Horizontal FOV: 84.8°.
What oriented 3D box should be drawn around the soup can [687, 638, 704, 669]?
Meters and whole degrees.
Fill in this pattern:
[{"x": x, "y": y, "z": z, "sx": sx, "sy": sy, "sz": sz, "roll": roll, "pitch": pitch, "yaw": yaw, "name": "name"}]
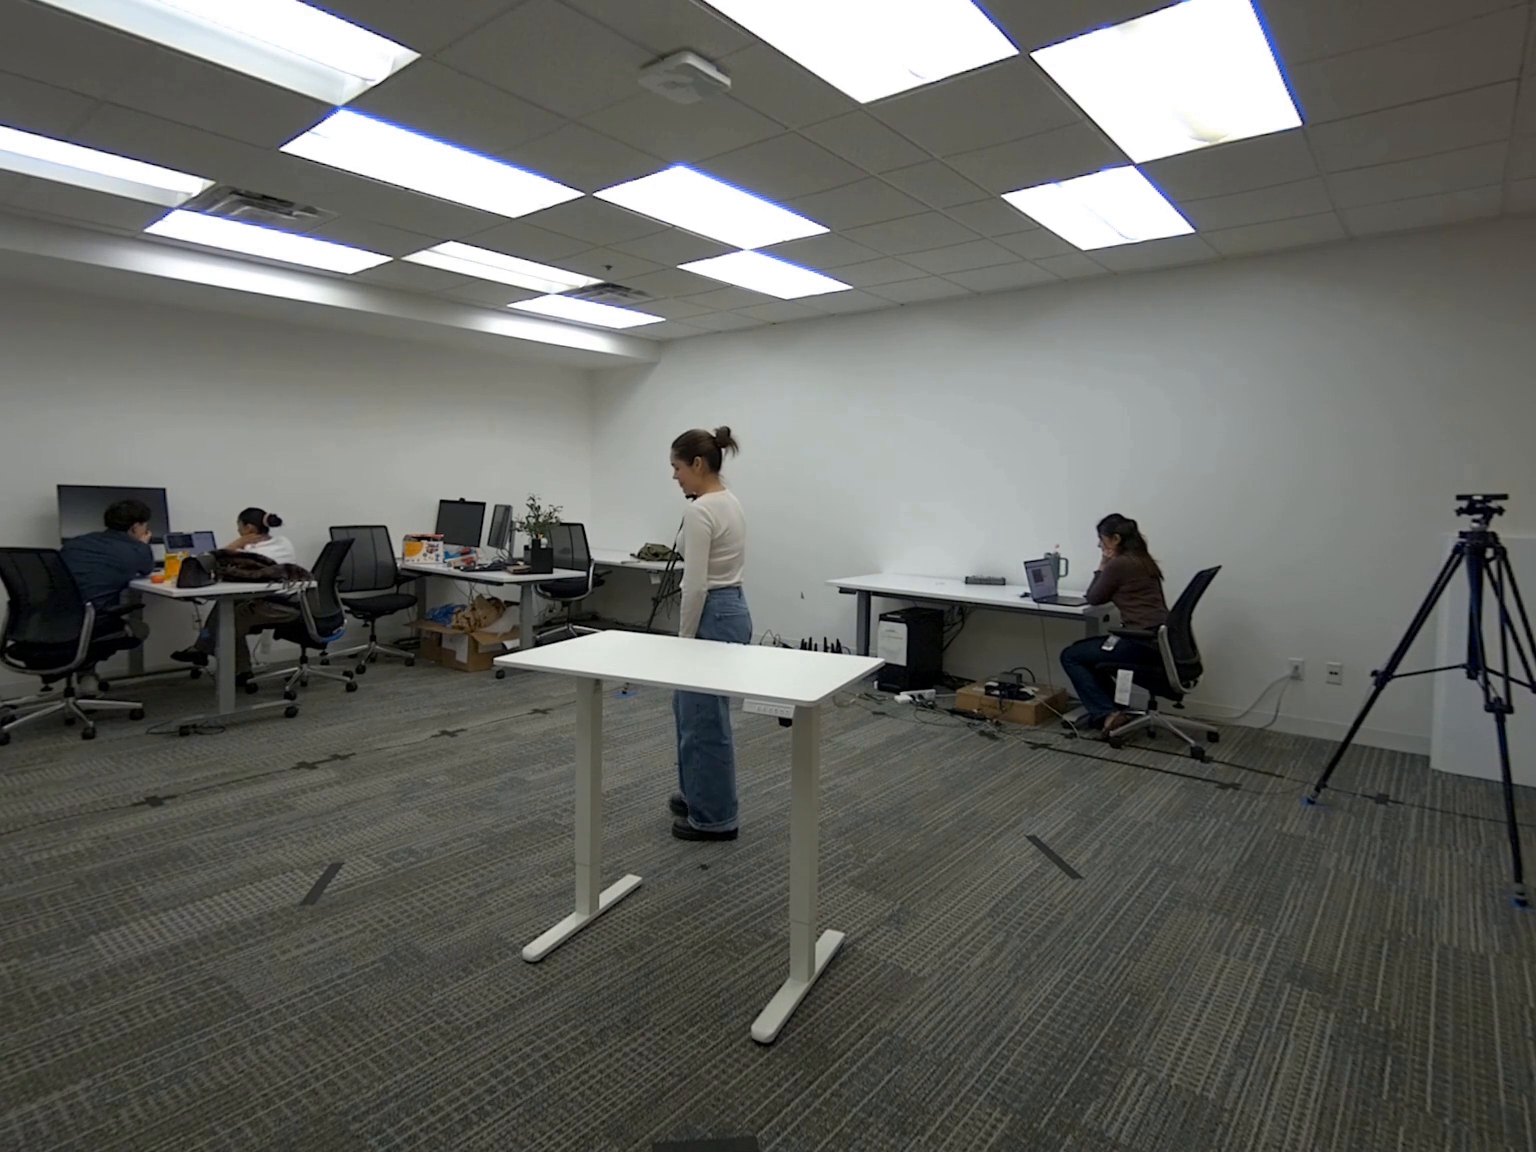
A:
[{"x": -0.317, "y": 0.332, "z": 3.650, "sx": 0.067, "sy": 0.121, "sz": 0.067, "roll": 2, "pitch": 4, "yaw": -2, "name": "soup can"}]
